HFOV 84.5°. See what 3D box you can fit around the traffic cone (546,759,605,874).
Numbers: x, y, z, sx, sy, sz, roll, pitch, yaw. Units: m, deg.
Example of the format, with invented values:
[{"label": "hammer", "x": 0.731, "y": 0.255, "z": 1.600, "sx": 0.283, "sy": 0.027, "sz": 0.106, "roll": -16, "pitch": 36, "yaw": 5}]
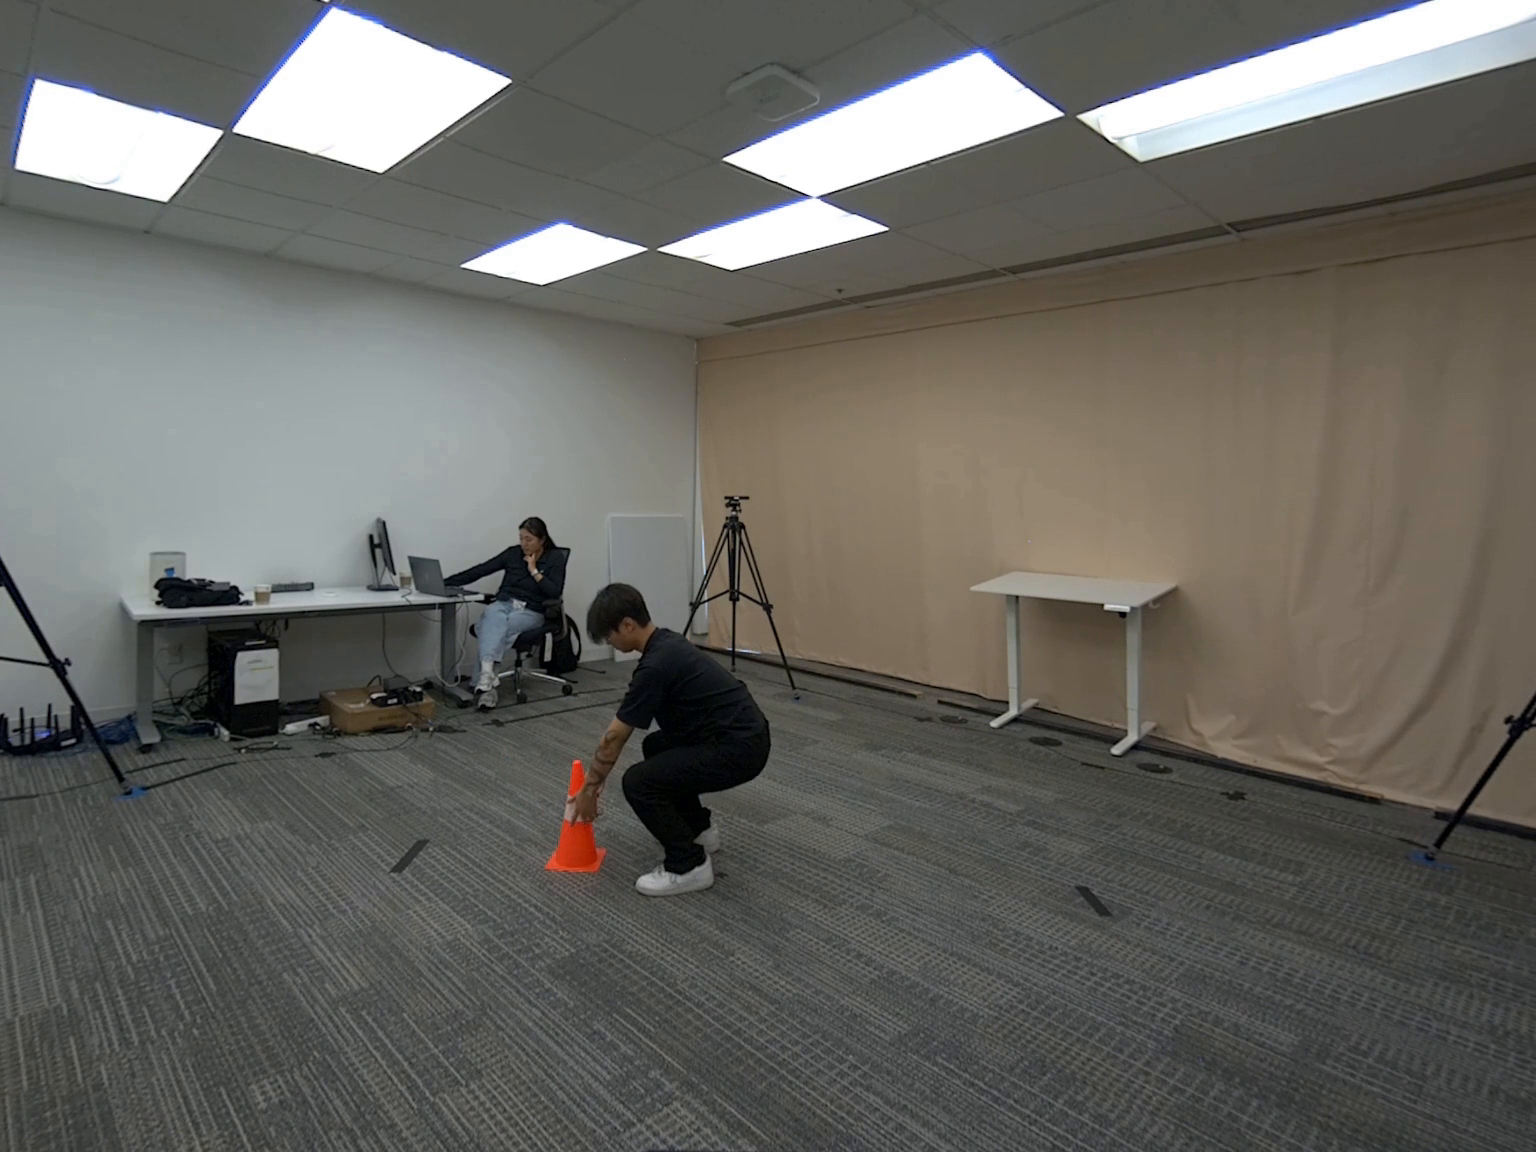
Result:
[{"label": "traffic cone", "x": -0.727, "y": 0.896, "z": 3.202, "sx": 0.204, "sy": 0.383, "sz": 0.205, "roll": 4, "pitch": 3, "yaw": 3}]
